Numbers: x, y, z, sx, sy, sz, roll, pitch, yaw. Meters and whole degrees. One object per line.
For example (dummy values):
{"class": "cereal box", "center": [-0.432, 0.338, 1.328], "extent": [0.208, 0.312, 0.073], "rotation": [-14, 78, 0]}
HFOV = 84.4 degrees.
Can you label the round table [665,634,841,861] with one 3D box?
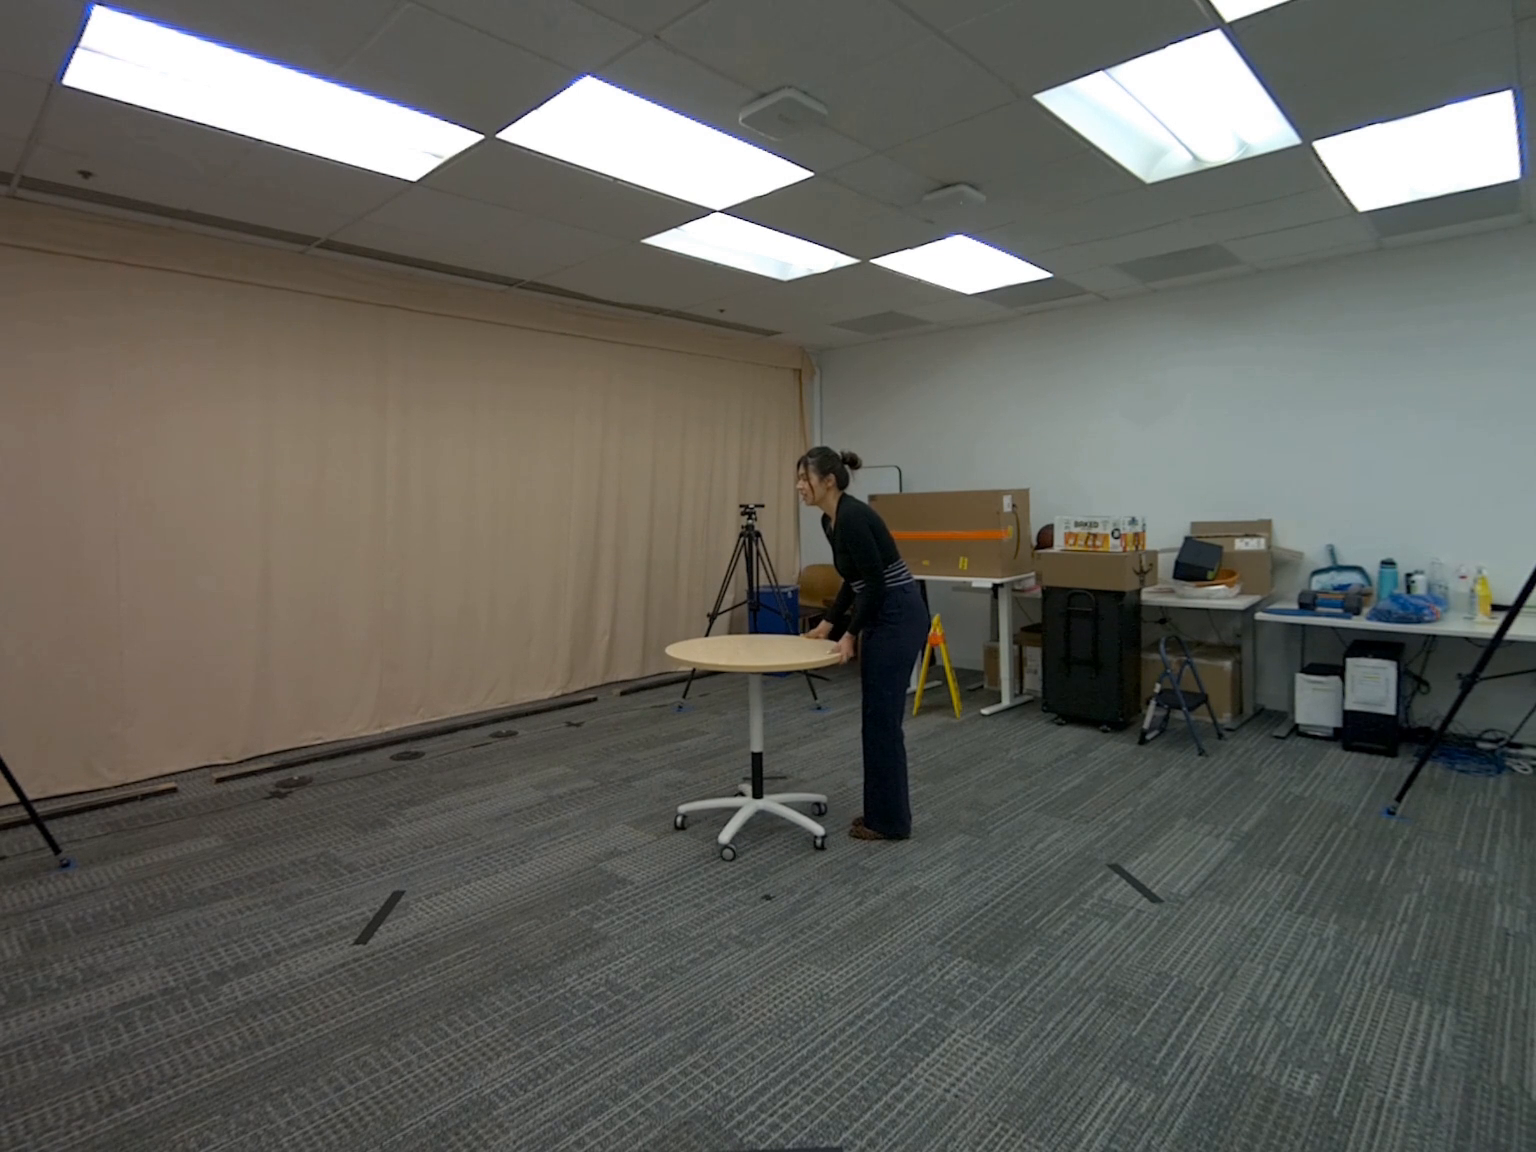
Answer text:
{"class": "round table", "center": [-0.051, 0.701, 3.594], "extent": [0.763, 0.792, 0.766], "rotation": [-1, 4, -2]}
